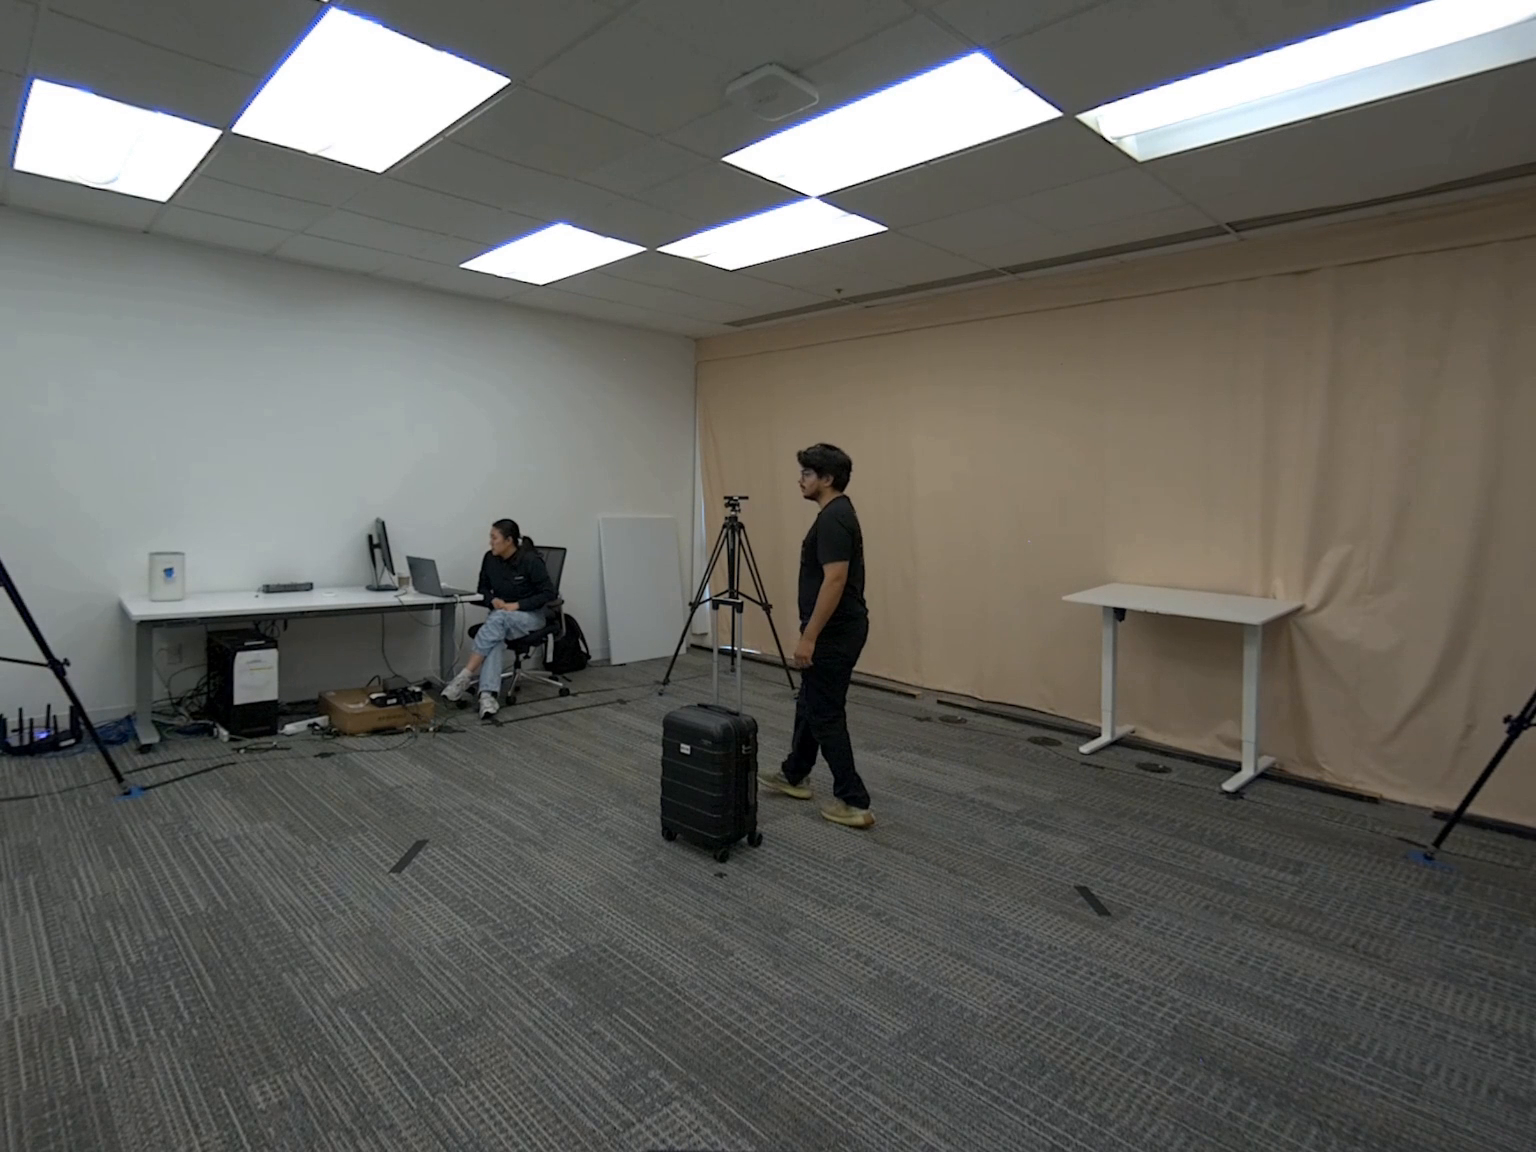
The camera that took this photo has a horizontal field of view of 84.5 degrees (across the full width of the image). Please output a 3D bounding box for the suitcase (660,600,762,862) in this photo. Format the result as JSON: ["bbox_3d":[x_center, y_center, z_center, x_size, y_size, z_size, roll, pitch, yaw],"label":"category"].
[{"bbox_3d":[-0.238,0.601,3.354,0.394,0.975,0.251,4,7,41],"label":"suitcase"}]
